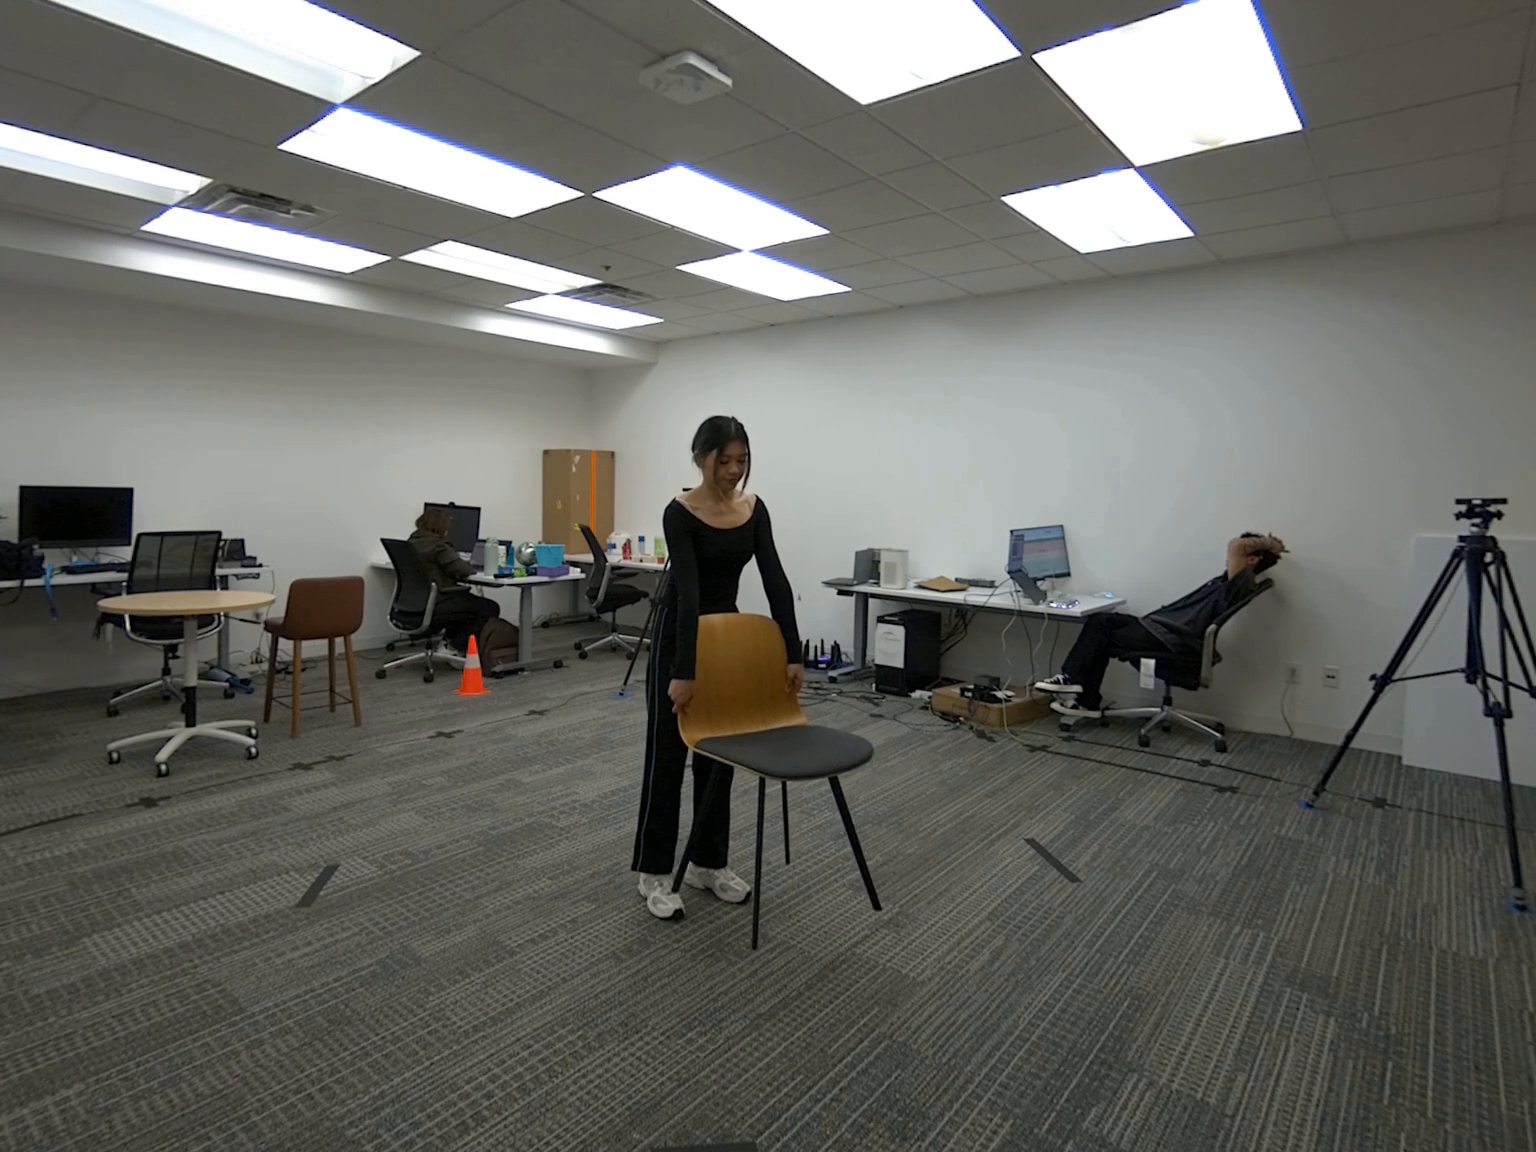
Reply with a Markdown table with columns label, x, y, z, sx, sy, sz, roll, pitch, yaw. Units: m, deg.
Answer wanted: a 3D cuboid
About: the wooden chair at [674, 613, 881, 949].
| label | x | y | z | sx | sy | sz | roll | pitch | yaw |
| --- | --- | --- | --- | --- | --- | --- | --- | --- | --- |
| wooden chair | 0.008 | 0.556 | 2.546 | 0.464 | 0.881 | 0.536 | -1 | -4 | -33 |
